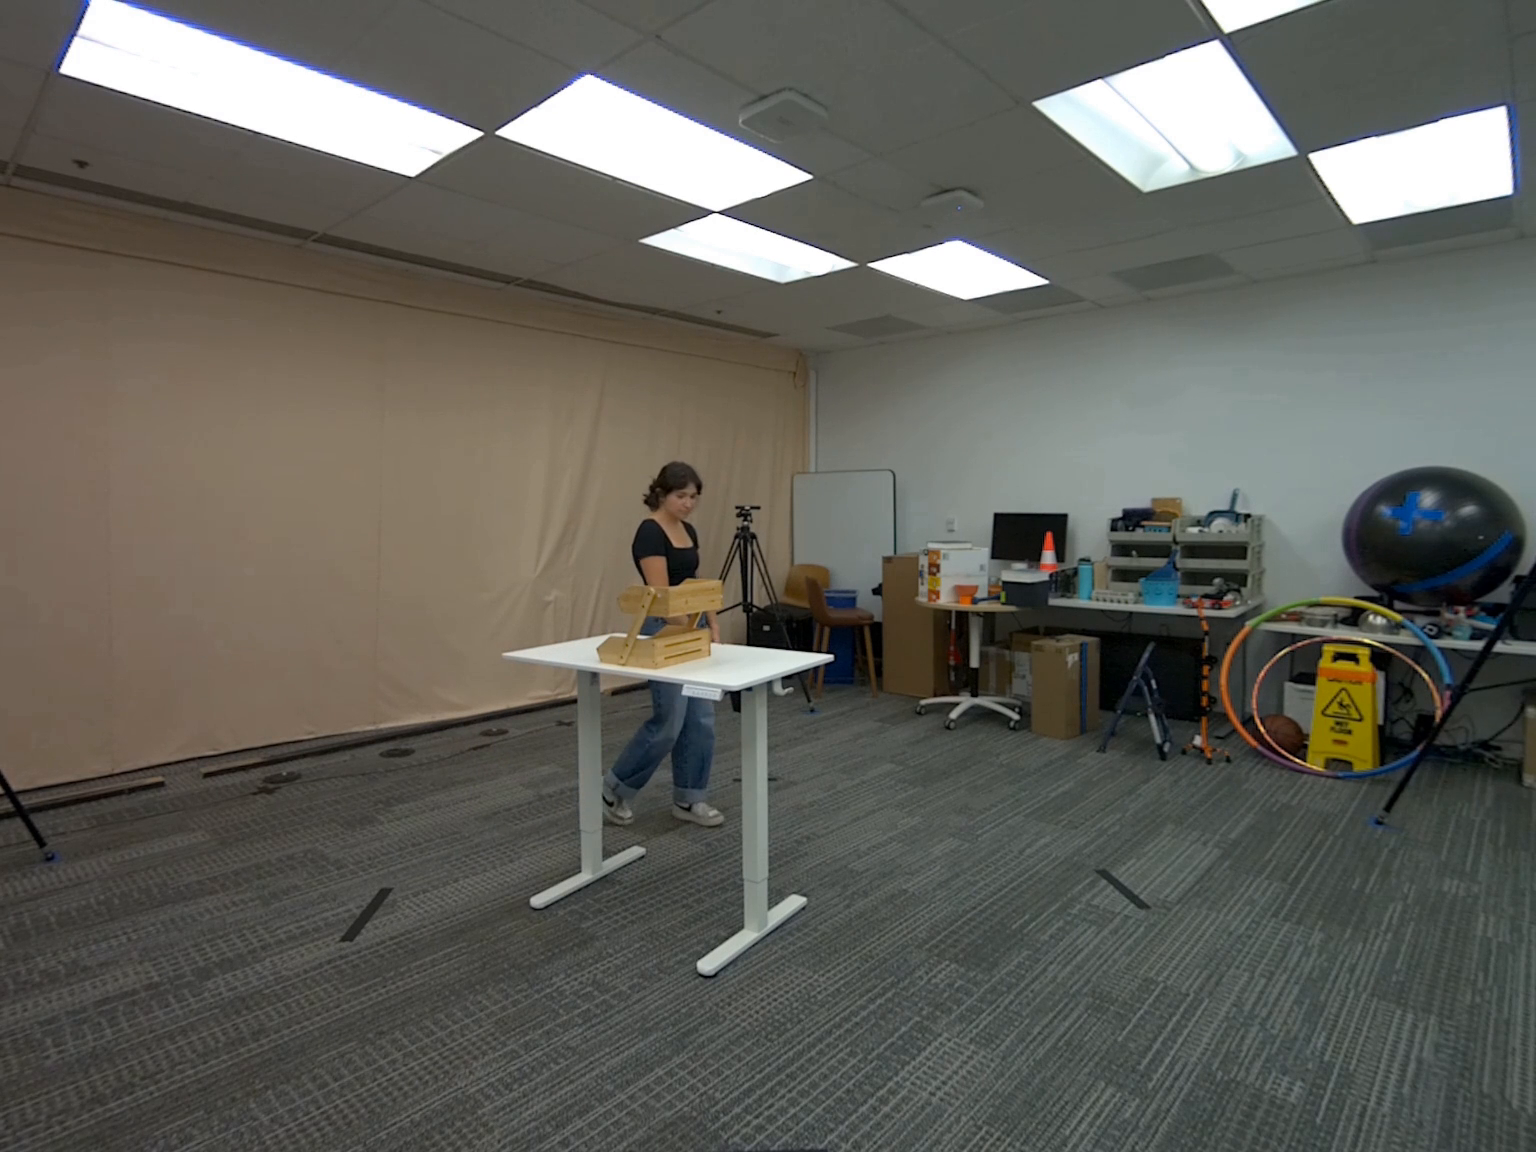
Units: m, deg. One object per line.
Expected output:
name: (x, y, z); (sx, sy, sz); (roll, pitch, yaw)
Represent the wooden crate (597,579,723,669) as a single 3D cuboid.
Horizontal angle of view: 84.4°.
wooden crate: (-0.357, 0.148, 2.799); (0.311, 0.273, 0.315); (3, 5, 32)
